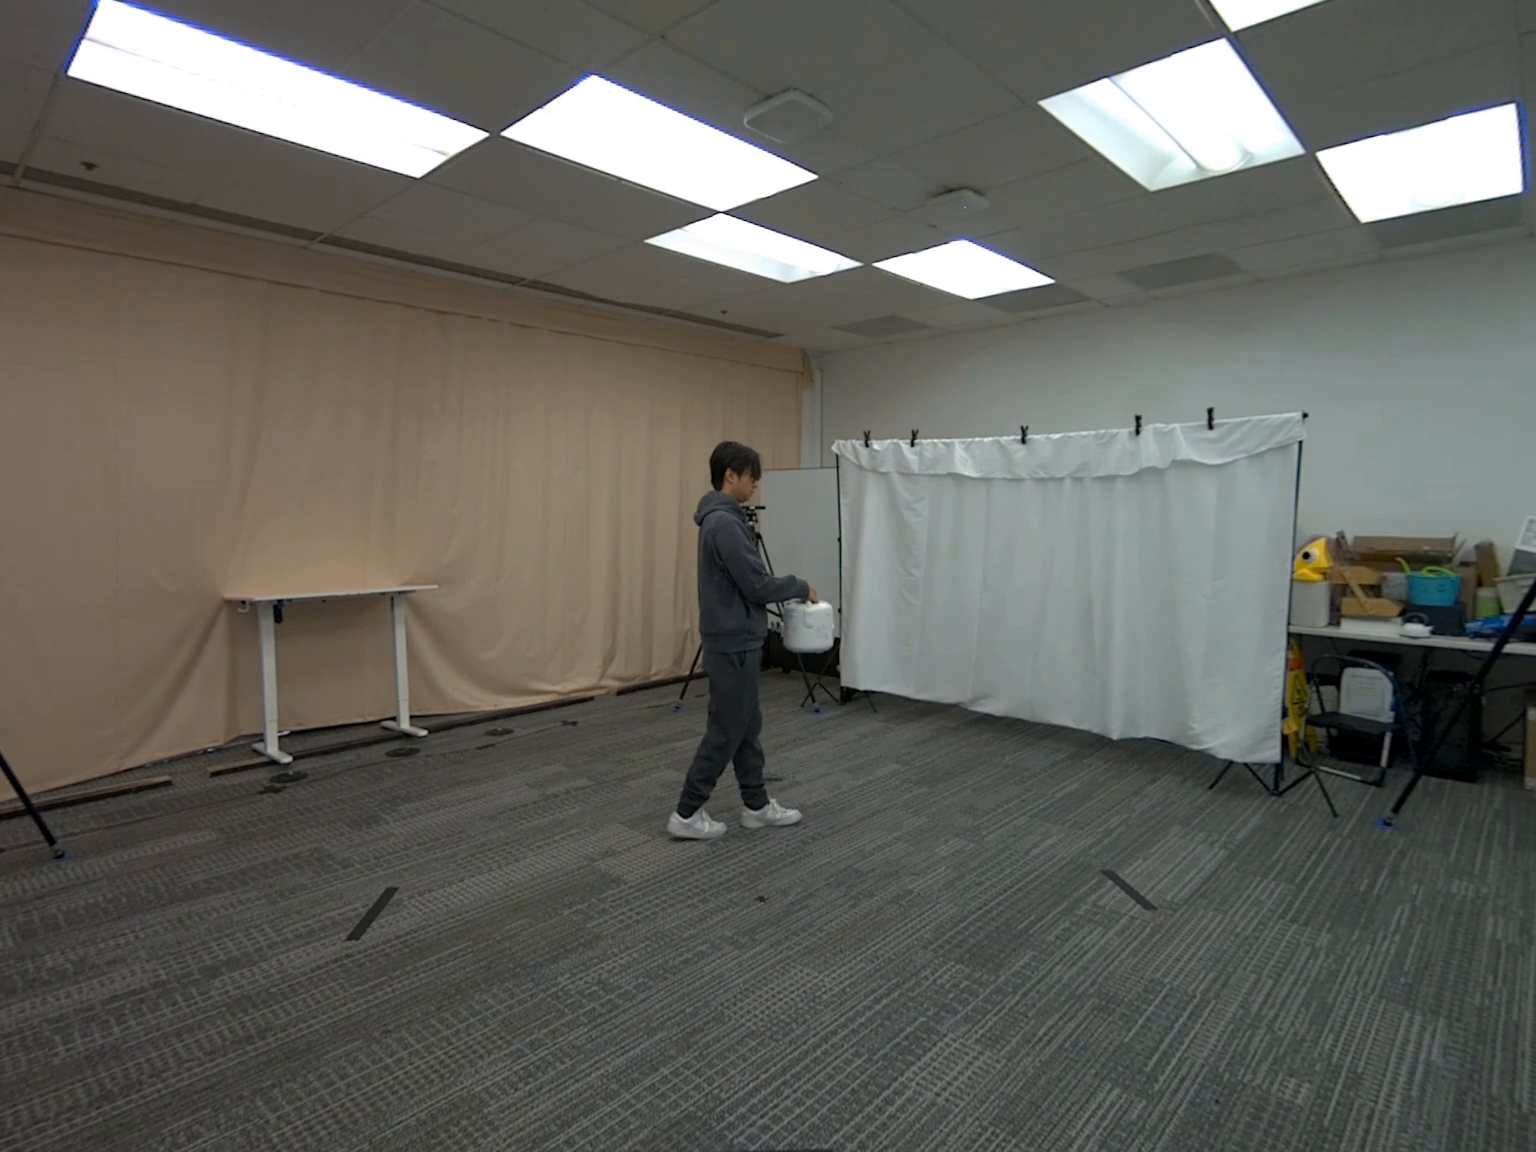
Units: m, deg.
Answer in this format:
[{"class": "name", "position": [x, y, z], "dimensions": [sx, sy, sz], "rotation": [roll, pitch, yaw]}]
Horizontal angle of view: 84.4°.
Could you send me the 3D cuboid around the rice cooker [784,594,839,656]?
[{"class": "rice cooker", "position": [0.181, 0.205, 3.607], "dimensions": [0.218, 0.232, 0.220], "rotation": [-1, 2, 3]}]
